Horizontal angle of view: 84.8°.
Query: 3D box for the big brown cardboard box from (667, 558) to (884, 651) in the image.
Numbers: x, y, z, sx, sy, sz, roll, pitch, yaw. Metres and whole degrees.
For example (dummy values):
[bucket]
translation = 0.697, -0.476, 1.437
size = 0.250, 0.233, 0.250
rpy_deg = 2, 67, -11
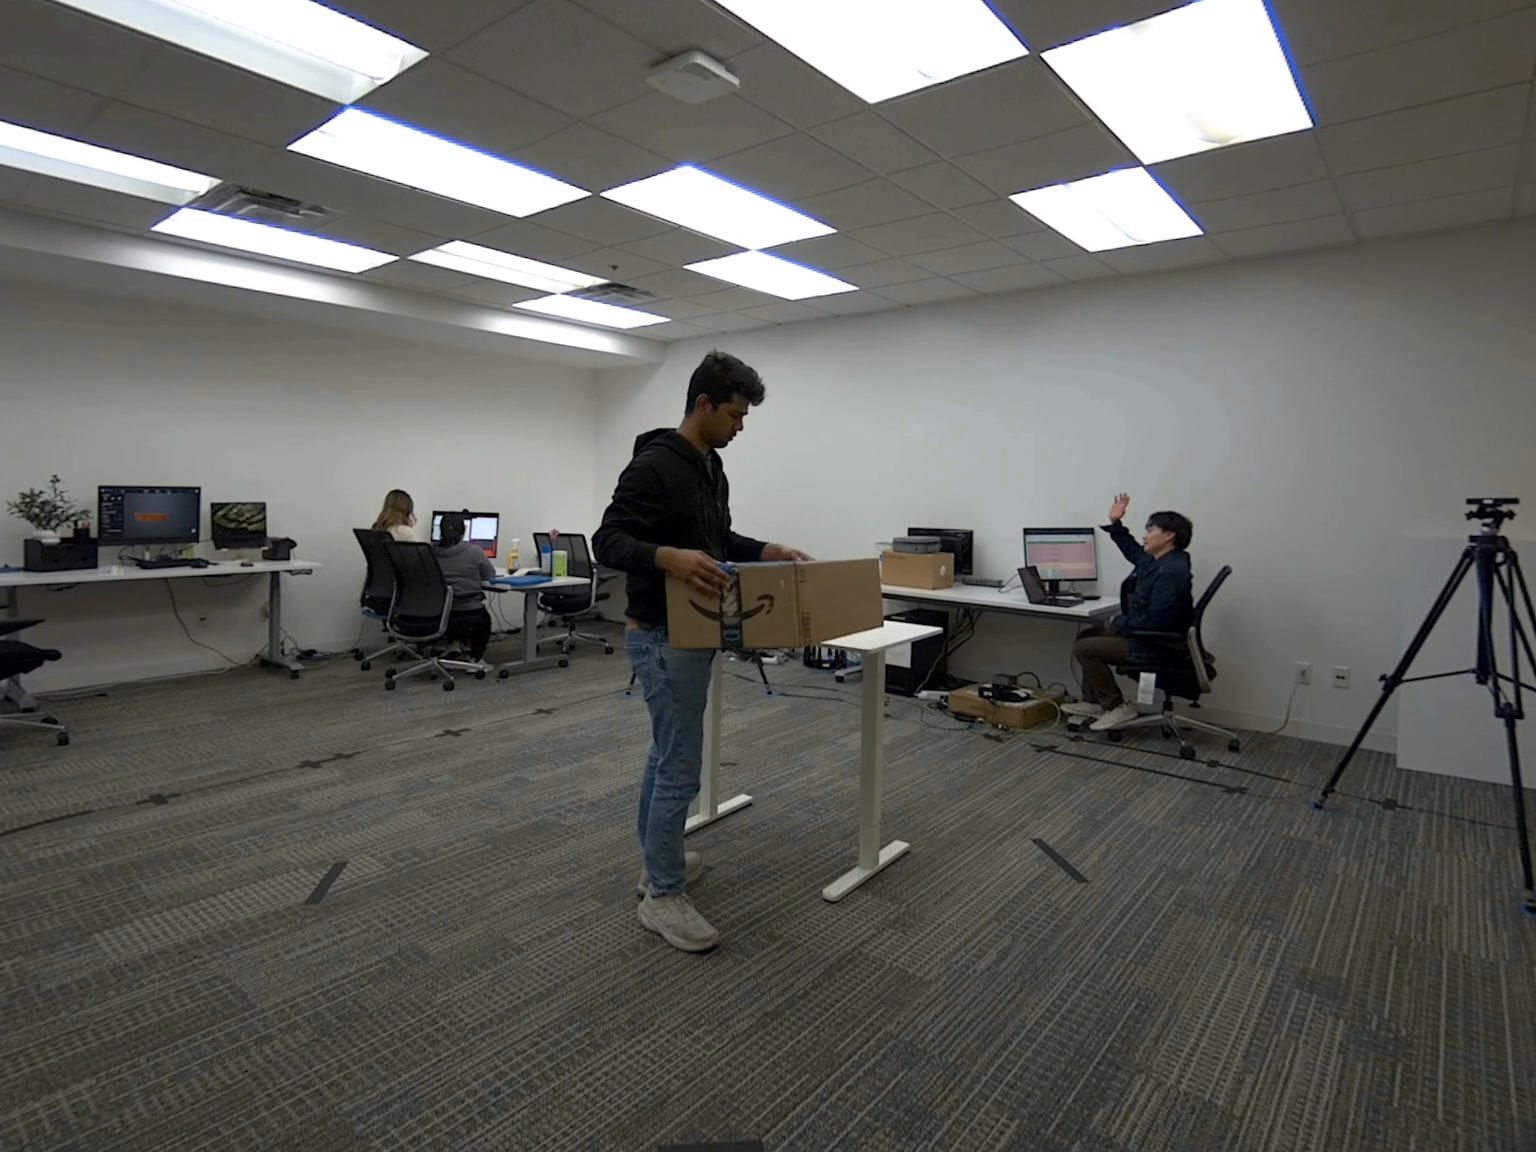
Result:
[big brown cardboard box]
translation = 0.025, 0.086, 2.492
size = 0.428, 0.234, 0.572
rpy_deg = -4, -1, 30
